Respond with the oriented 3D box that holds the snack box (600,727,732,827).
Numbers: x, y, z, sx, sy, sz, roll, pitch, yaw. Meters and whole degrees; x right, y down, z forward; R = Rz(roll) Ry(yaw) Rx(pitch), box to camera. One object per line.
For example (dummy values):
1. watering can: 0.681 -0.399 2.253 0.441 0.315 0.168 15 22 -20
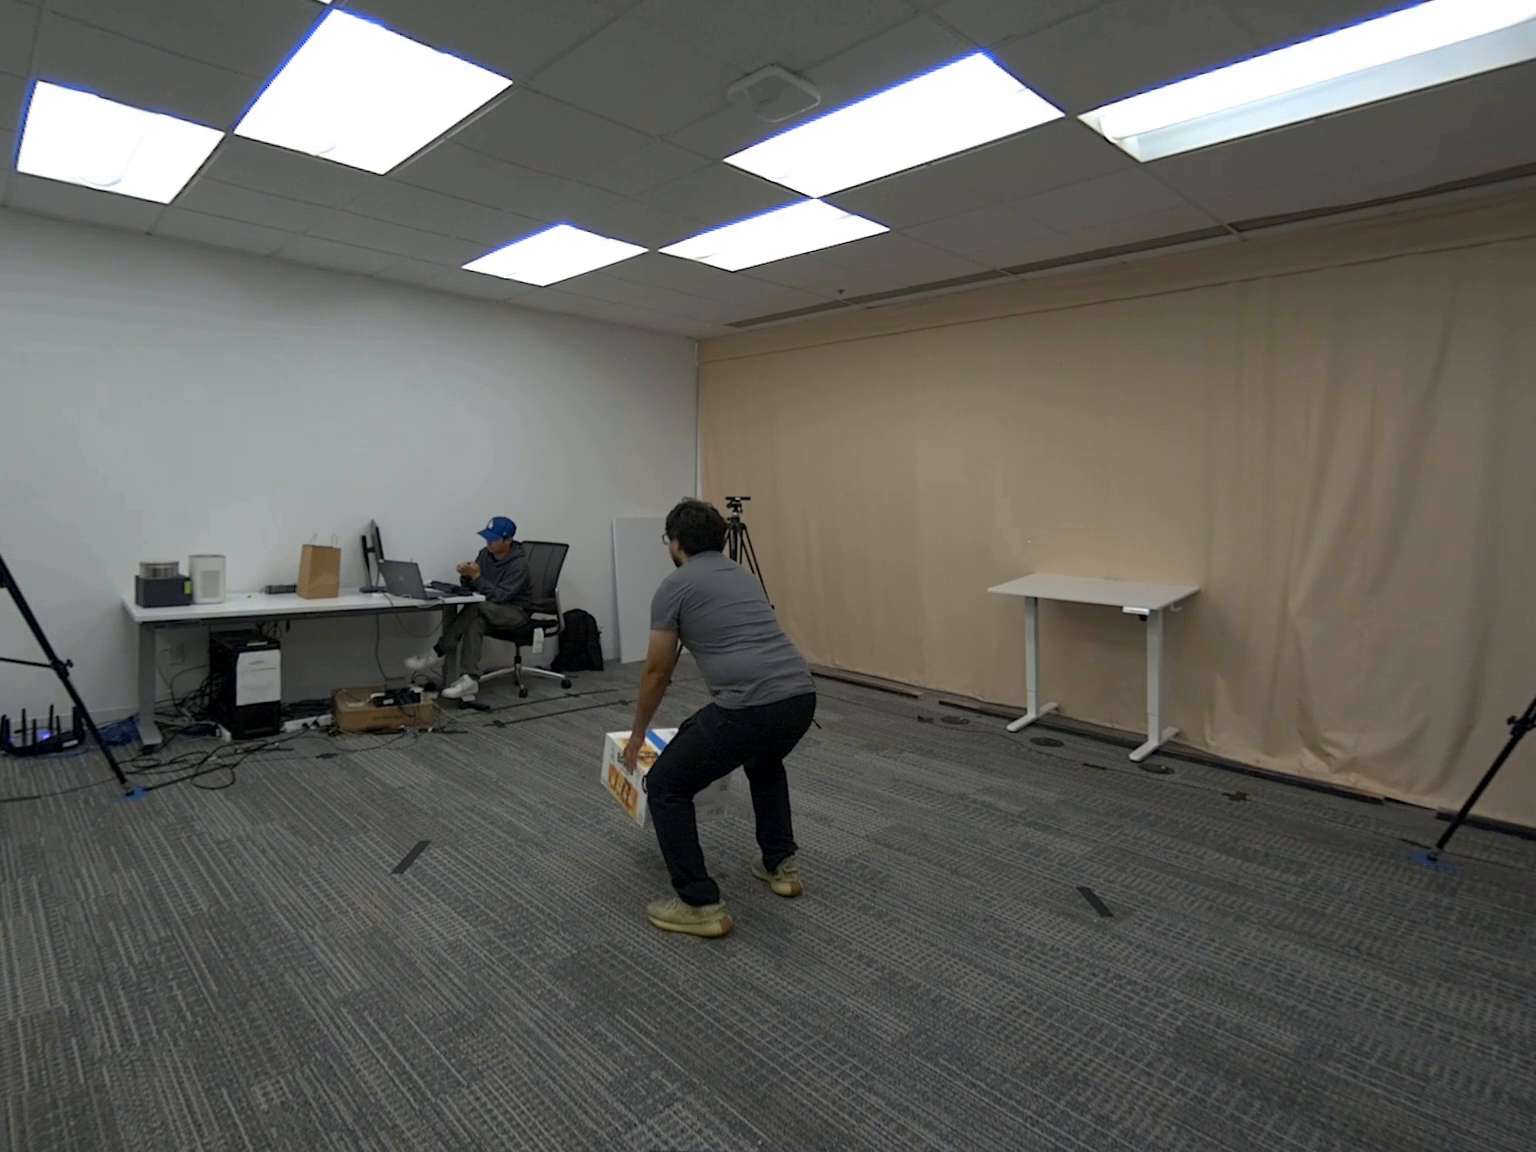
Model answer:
1. snack box: -0.401 0.750 3.179 0.333 0.204 0.416 2 10 -32
